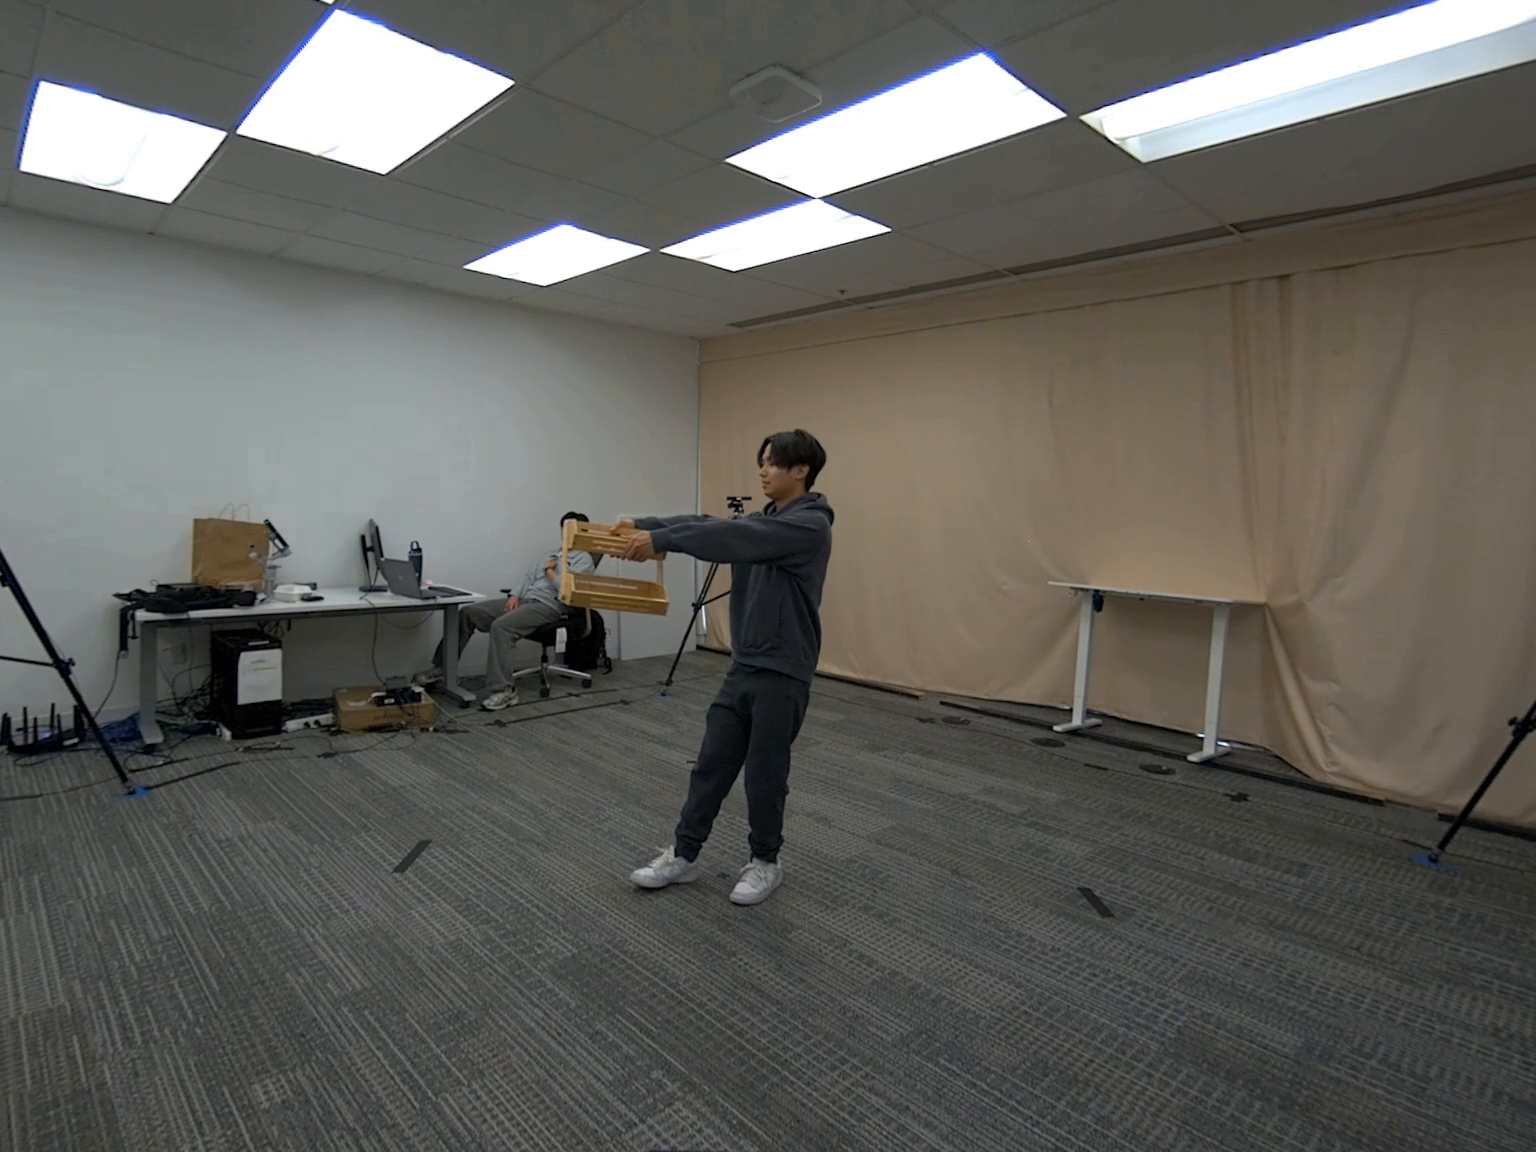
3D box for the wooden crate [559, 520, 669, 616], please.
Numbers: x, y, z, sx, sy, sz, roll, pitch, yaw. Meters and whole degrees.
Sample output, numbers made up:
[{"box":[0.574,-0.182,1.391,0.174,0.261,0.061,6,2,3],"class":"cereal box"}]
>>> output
[{"box":[-0.494,-0.029,2.665,0.319,0.273,0.306,7,-1,-19],"class":"wooden crate"}]
